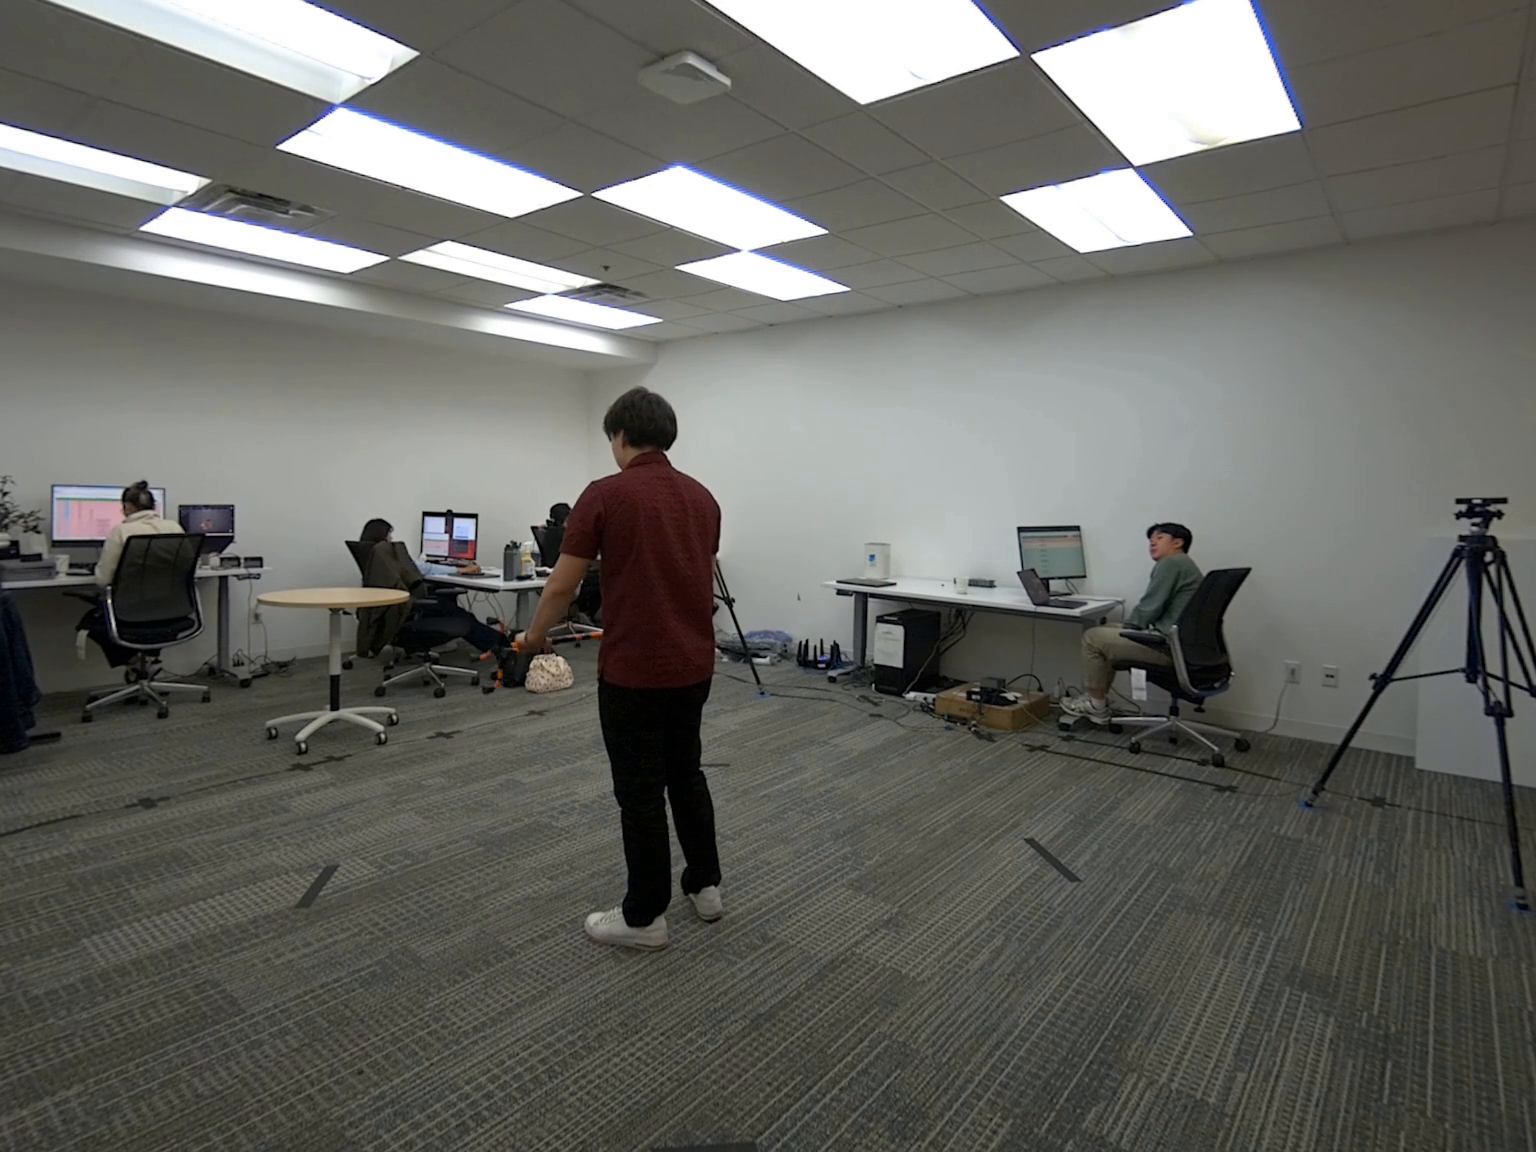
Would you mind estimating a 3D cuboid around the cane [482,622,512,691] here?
[{"bbox_3d":[-0.550,0.204,2.874,0.881,0.157,0.206,-5,-37,-46],"label":"cane"}]
